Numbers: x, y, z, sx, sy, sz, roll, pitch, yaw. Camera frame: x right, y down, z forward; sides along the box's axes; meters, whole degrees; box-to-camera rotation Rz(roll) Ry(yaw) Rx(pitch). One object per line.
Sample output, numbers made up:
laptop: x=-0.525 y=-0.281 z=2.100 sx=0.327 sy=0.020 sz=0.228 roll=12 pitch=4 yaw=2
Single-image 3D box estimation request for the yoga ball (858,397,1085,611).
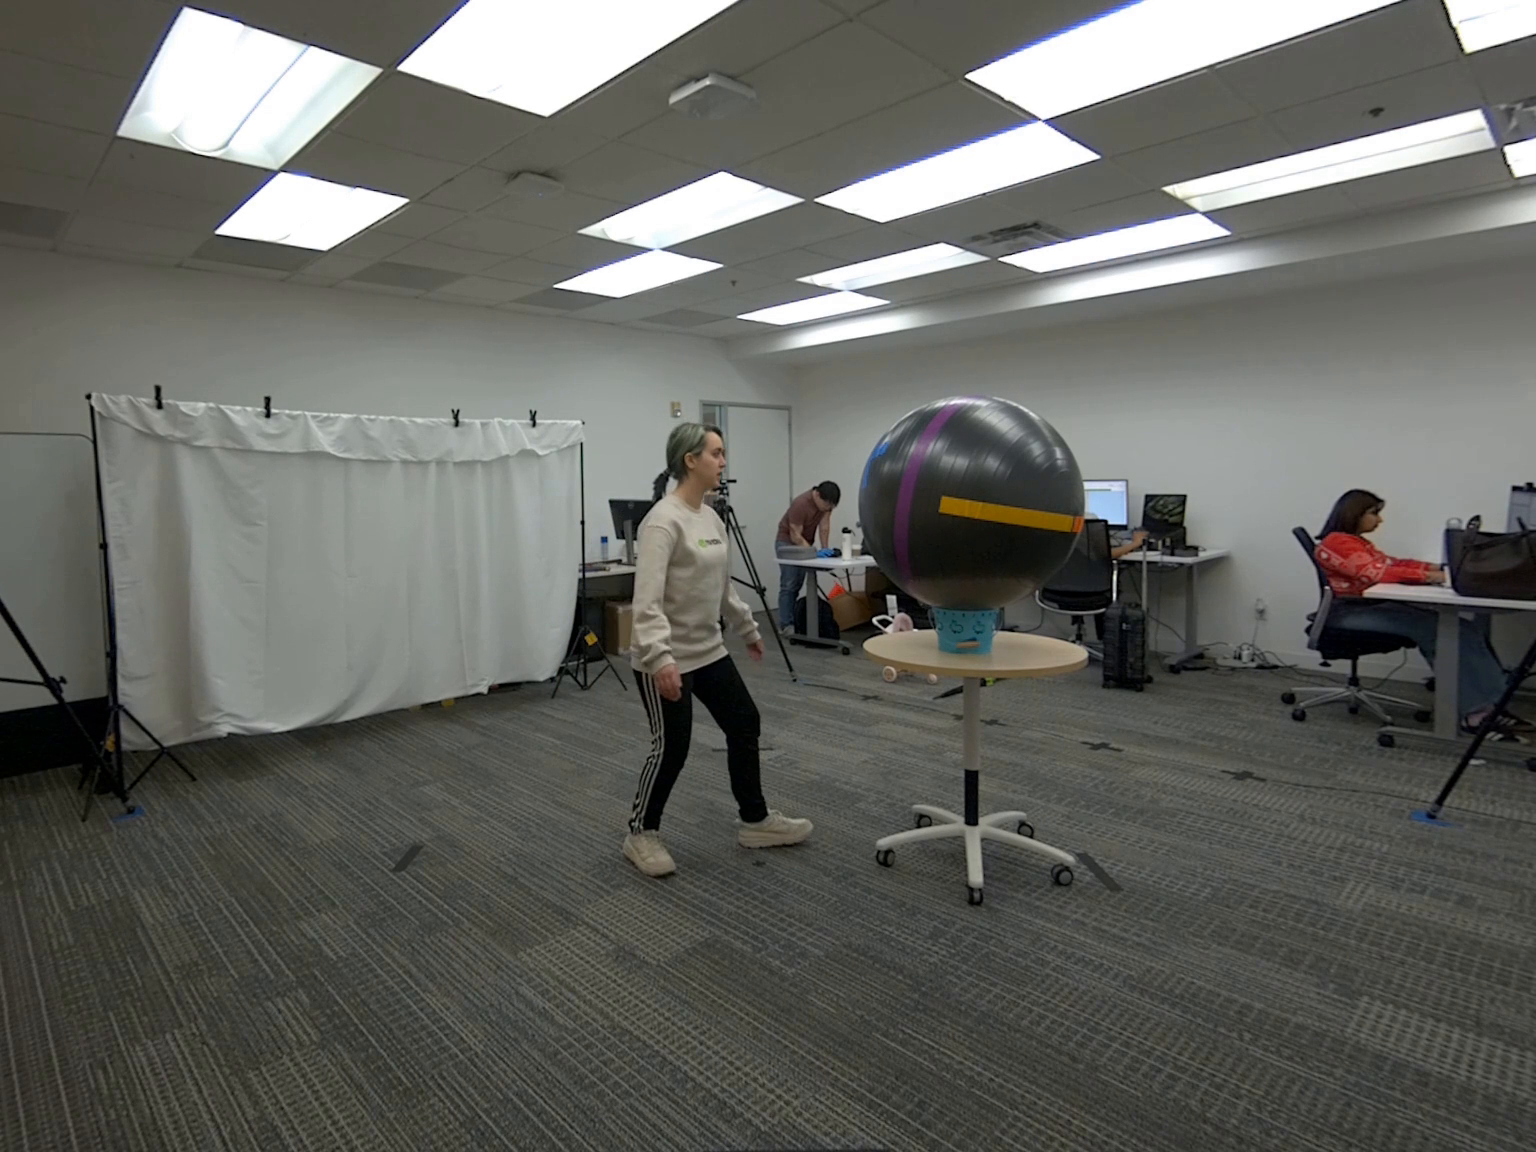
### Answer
yoga ball: x=0.709 y=-0.249 z=2.988 sx=0.757 sy=0.755 sz=0.762 roll=-1 pitch=5 yaw=-2
